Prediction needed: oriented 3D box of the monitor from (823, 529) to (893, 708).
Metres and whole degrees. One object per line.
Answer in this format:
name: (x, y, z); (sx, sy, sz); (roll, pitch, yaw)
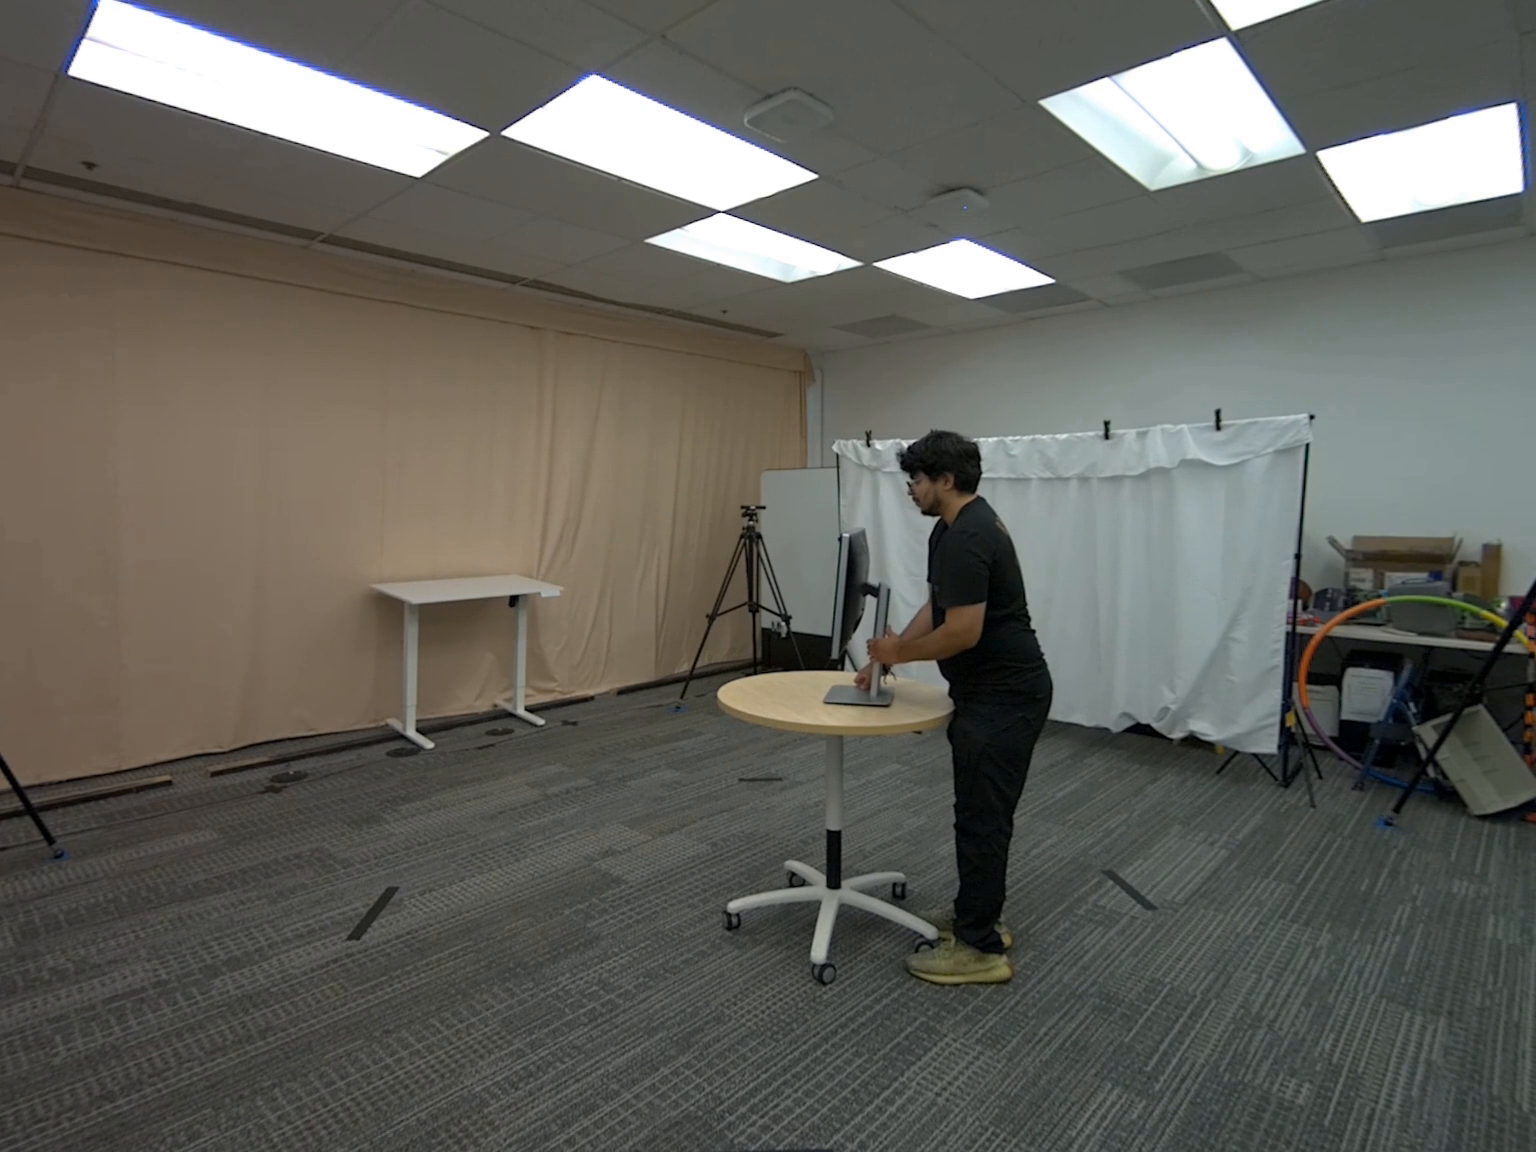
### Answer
monitor: (0.326, 0.130, 2.676); (0.213, 0.552, 0.558); (3, 5, 12)
